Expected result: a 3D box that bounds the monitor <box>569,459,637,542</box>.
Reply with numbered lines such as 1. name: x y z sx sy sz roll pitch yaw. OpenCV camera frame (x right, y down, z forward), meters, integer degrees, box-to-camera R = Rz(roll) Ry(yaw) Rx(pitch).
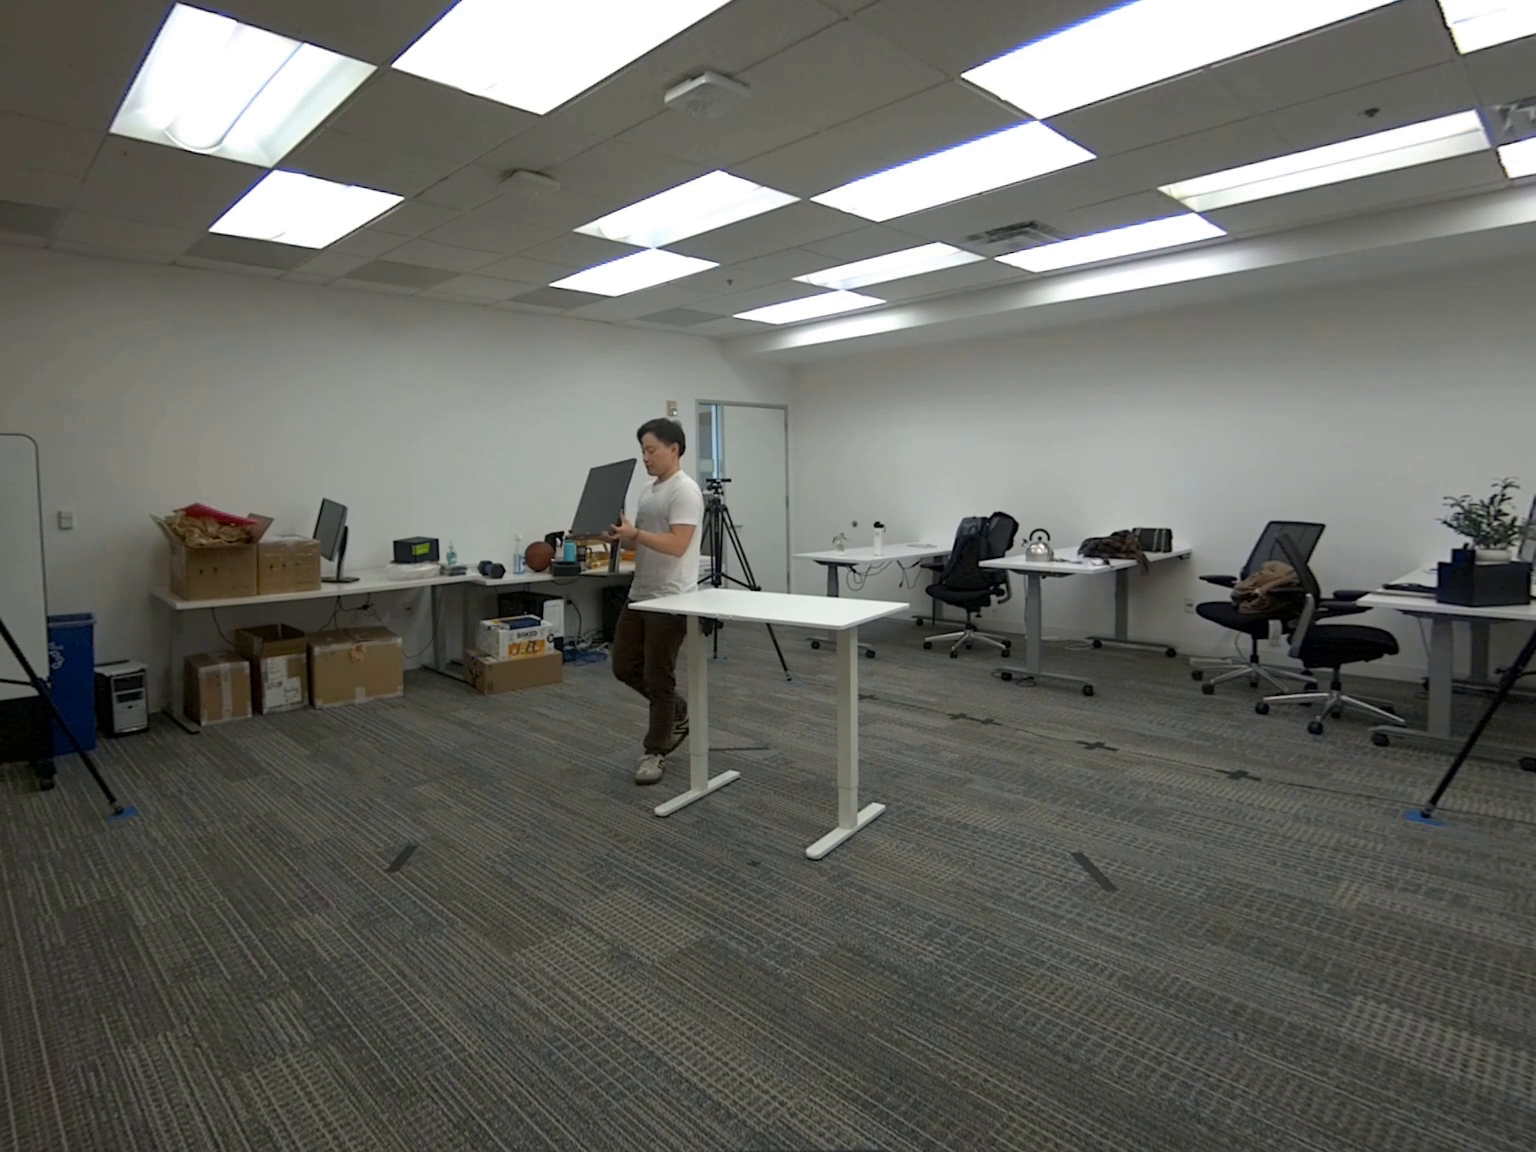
1. monitor: -0.738 -0.256 3.928 0.182 0.524 0.553 5 -3 -33
